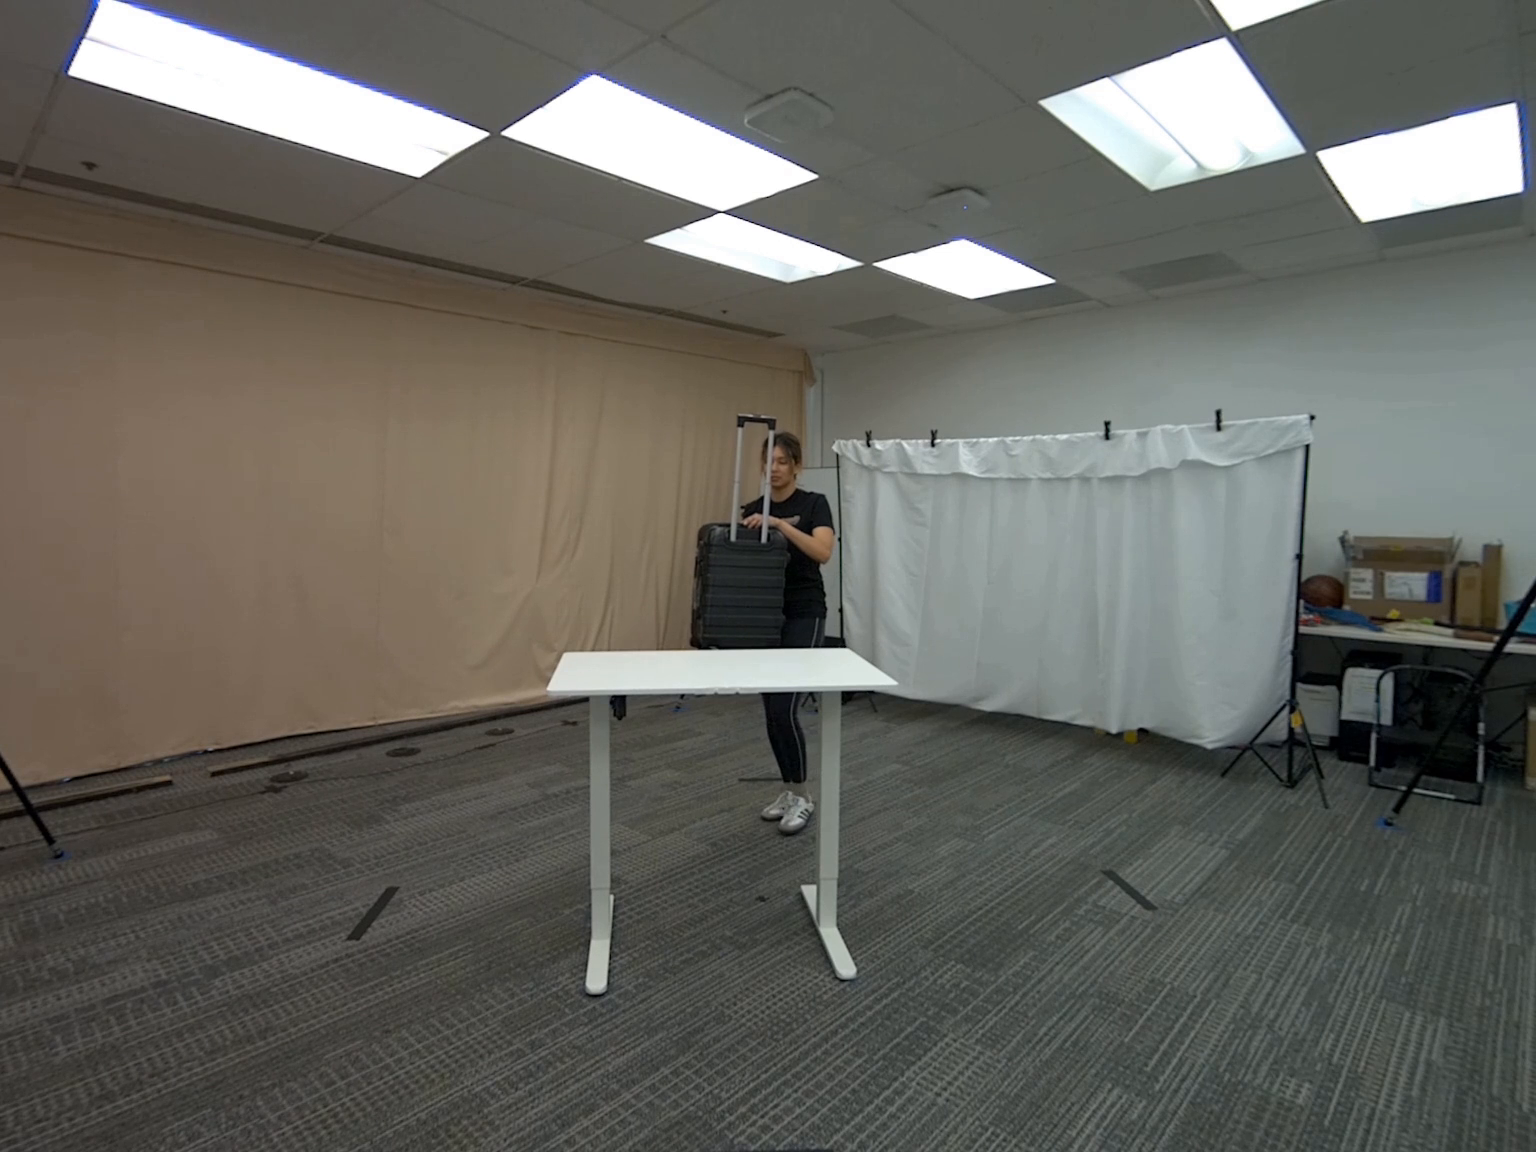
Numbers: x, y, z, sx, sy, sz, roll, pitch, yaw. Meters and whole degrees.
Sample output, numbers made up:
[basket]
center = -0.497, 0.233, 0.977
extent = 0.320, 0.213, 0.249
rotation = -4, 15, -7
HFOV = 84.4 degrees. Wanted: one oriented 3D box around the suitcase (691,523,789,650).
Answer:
[suitcase]
center = -0.113, -0.157, 3.458
extent = 0.379, 0.977, 0.261
rotation = 4, 3, -13
